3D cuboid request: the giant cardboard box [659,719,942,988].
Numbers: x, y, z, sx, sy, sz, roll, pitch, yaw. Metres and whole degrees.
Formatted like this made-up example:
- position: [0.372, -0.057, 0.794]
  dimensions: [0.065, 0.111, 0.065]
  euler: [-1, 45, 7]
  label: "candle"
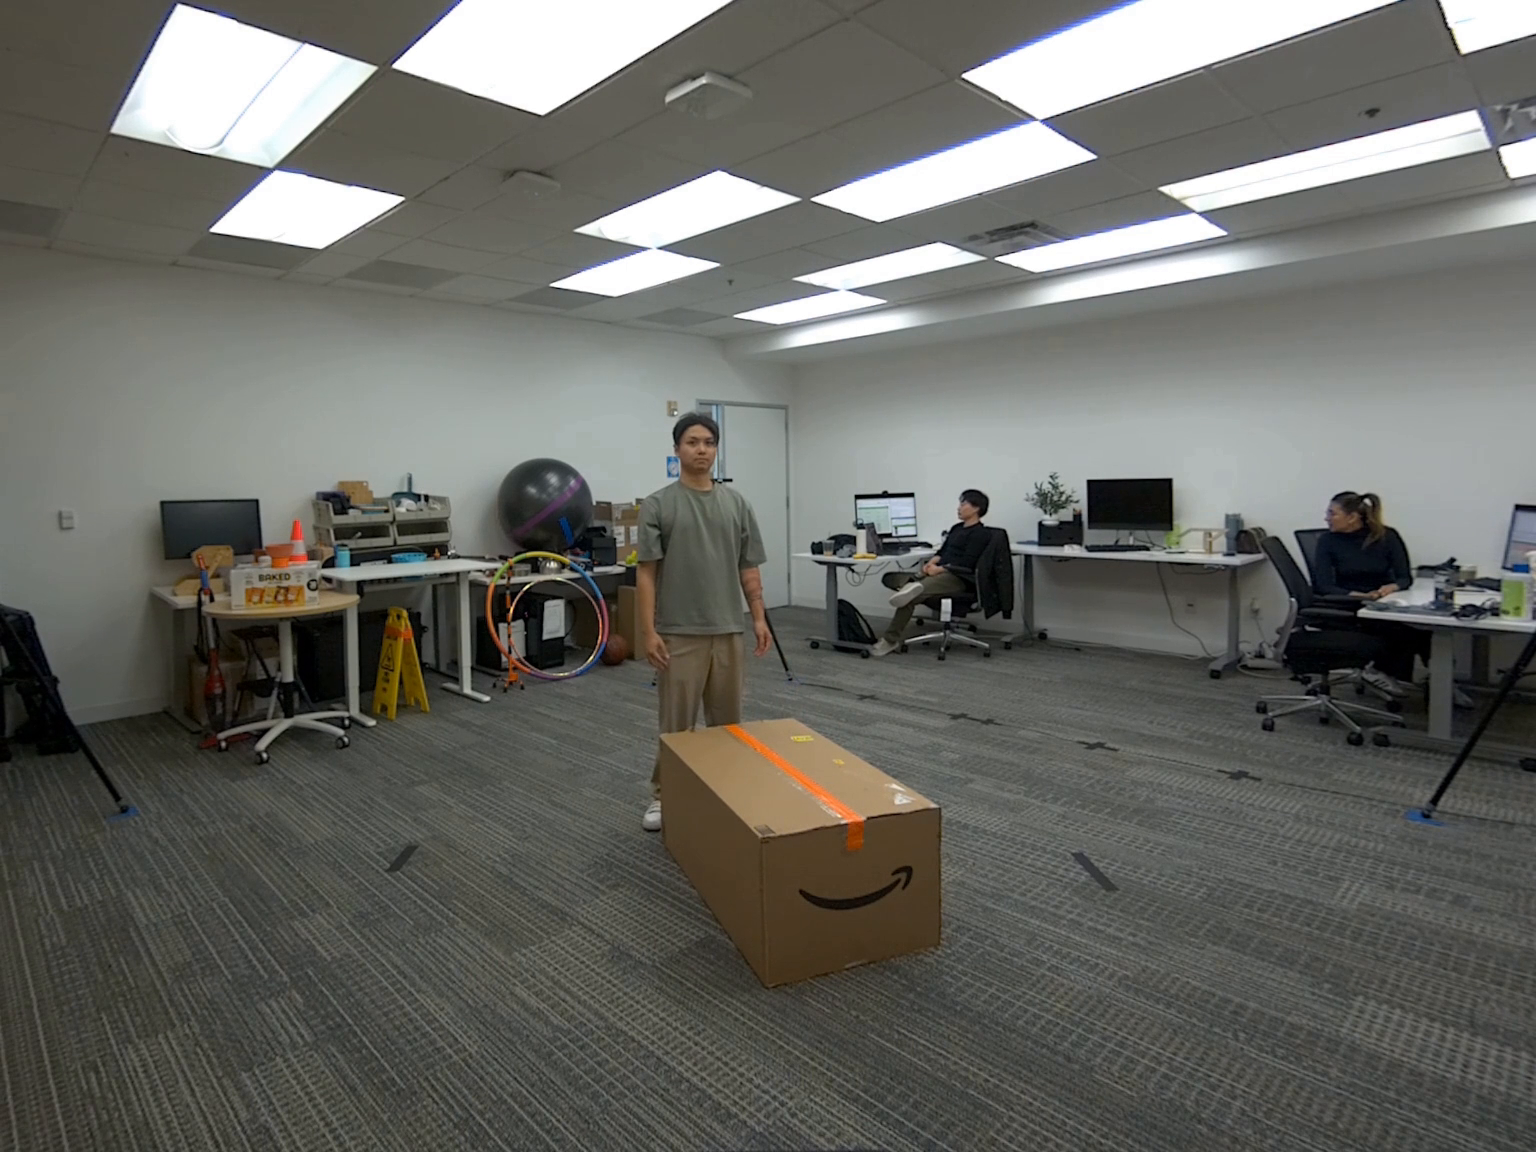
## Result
- position: [0.055, 0.851, 2.902]
  dimensions: [0.567, 0.424, 1.050]
  euler: [-4, 7, -22]
  label: "giant cardboard box"
